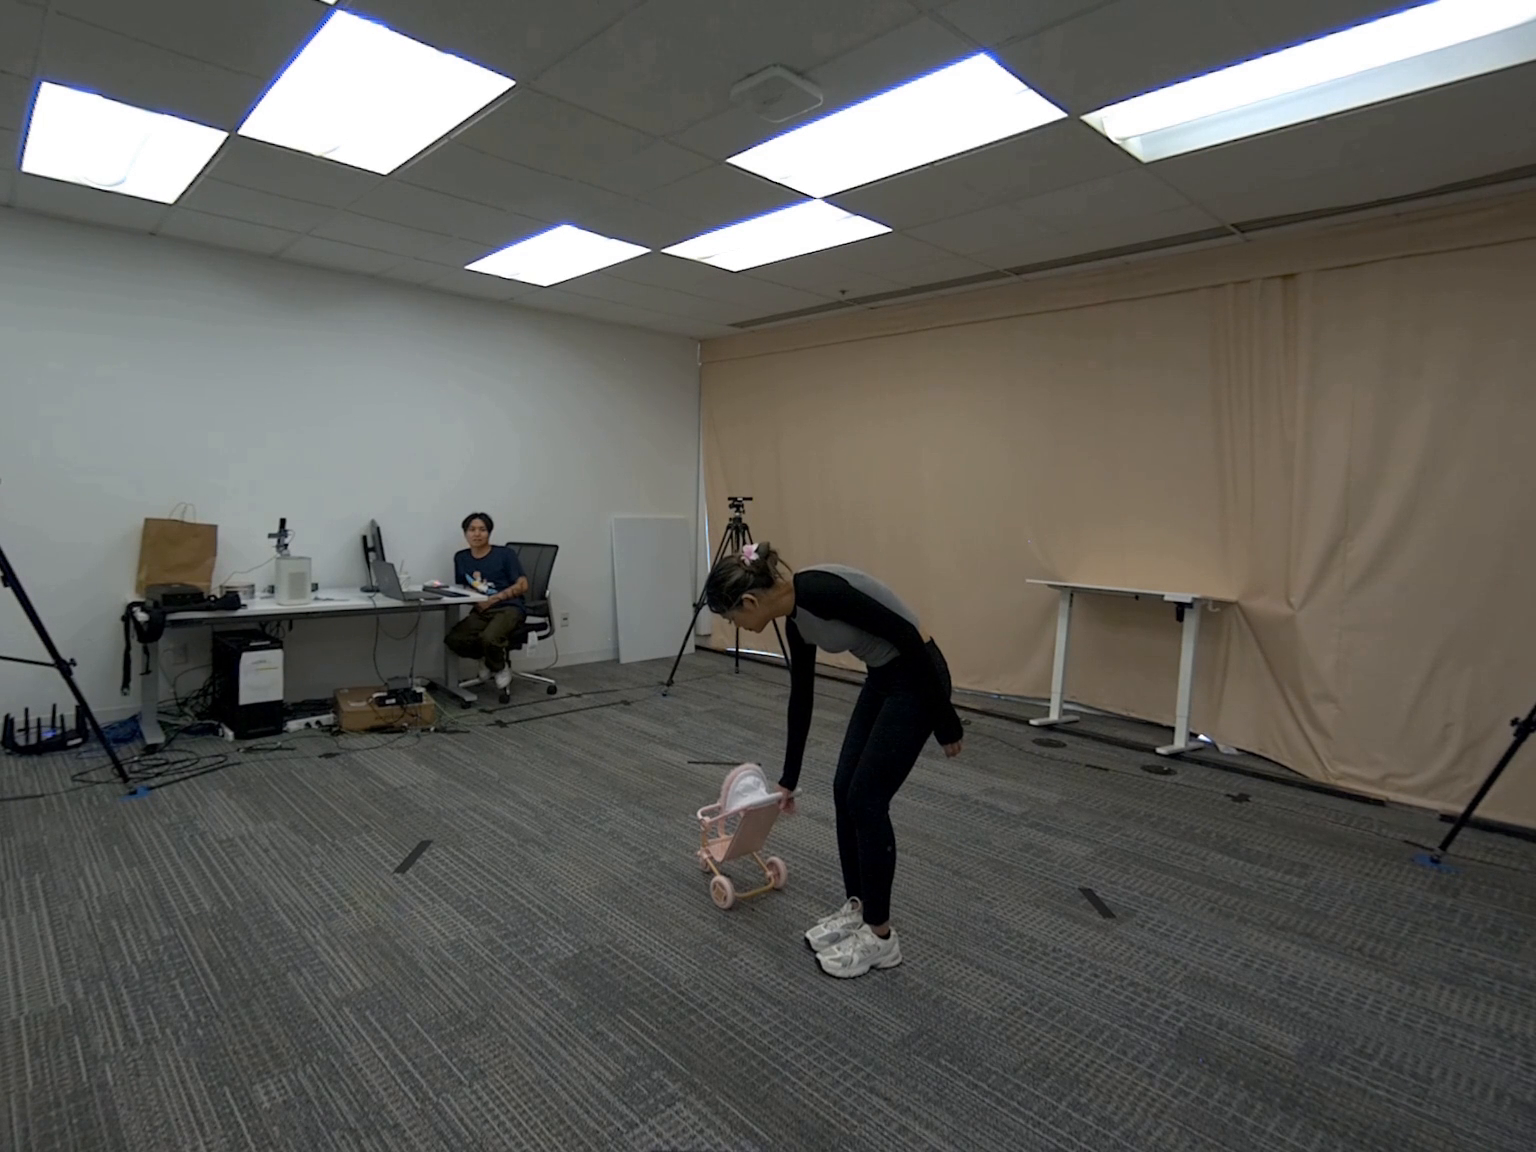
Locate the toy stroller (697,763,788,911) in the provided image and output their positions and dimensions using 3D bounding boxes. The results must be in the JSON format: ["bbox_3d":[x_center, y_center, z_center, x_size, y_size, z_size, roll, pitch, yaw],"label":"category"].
[{"bbox_3d":[-0.104,0.896,2.973,0.275,0.530,0.352,-1,21,-36],"label":"toy stroller"}]
